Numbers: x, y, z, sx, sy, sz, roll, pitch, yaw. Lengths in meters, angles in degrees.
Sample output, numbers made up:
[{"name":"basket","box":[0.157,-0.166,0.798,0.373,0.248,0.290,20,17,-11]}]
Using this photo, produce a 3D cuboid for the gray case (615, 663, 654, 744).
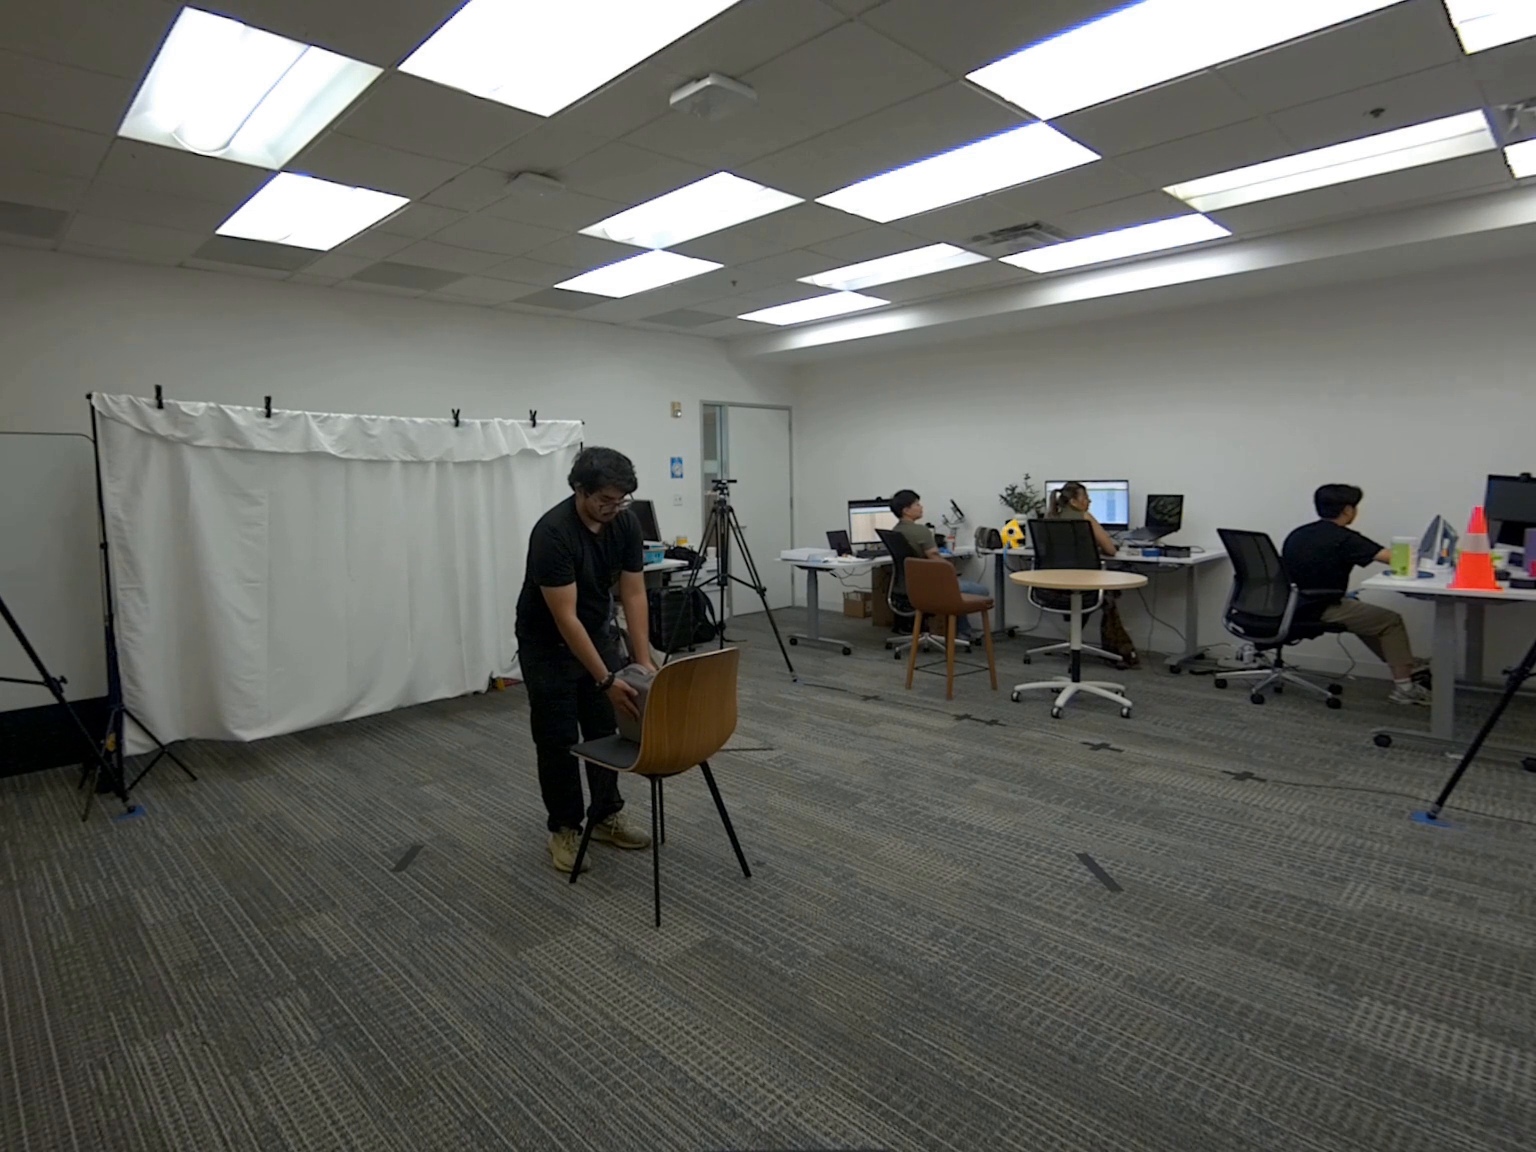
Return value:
[{"name":"gray case","box":[-0.416,0.467,3.003,0.265,0.256,0.103,10,24,37]}]
